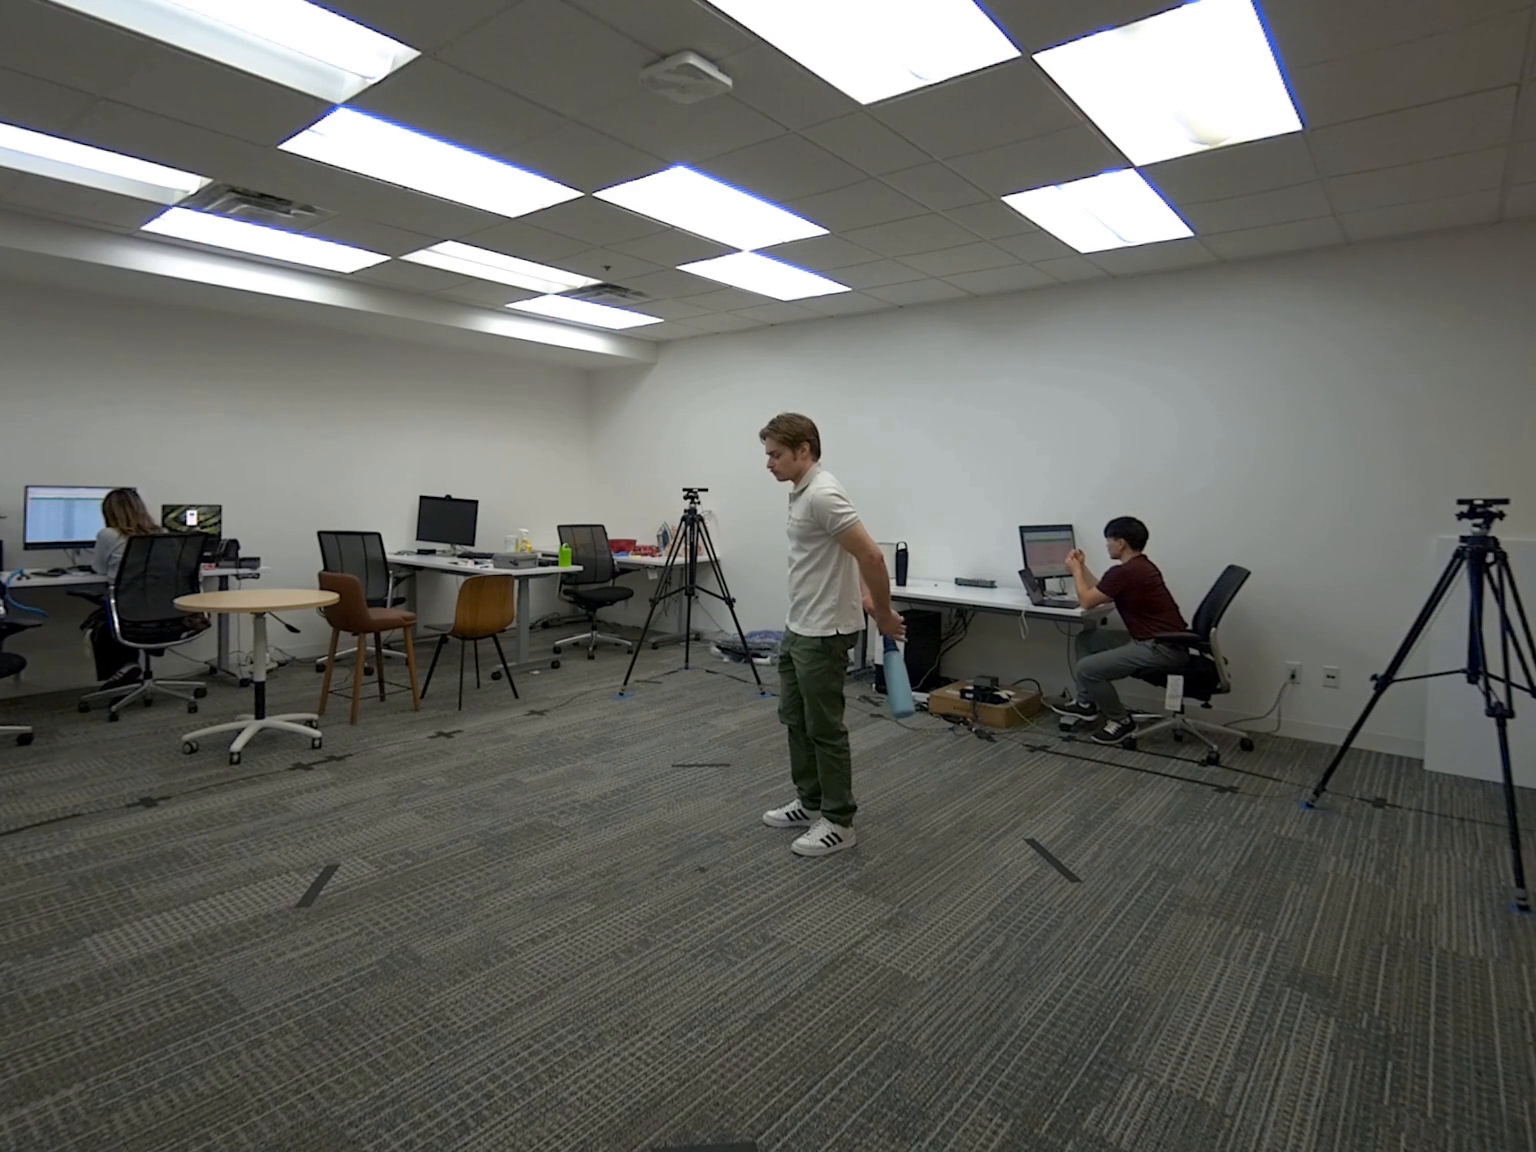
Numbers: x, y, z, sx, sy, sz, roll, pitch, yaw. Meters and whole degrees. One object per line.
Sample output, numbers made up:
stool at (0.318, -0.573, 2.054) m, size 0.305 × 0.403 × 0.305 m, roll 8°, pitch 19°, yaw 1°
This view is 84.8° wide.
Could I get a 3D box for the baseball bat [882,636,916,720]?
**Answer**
baseball bat at (0.475, 0.287, 3.318) m, size 0.089 × 0.556 × 0.087 m, roll -5°, pitch -25°, yaw -4°
